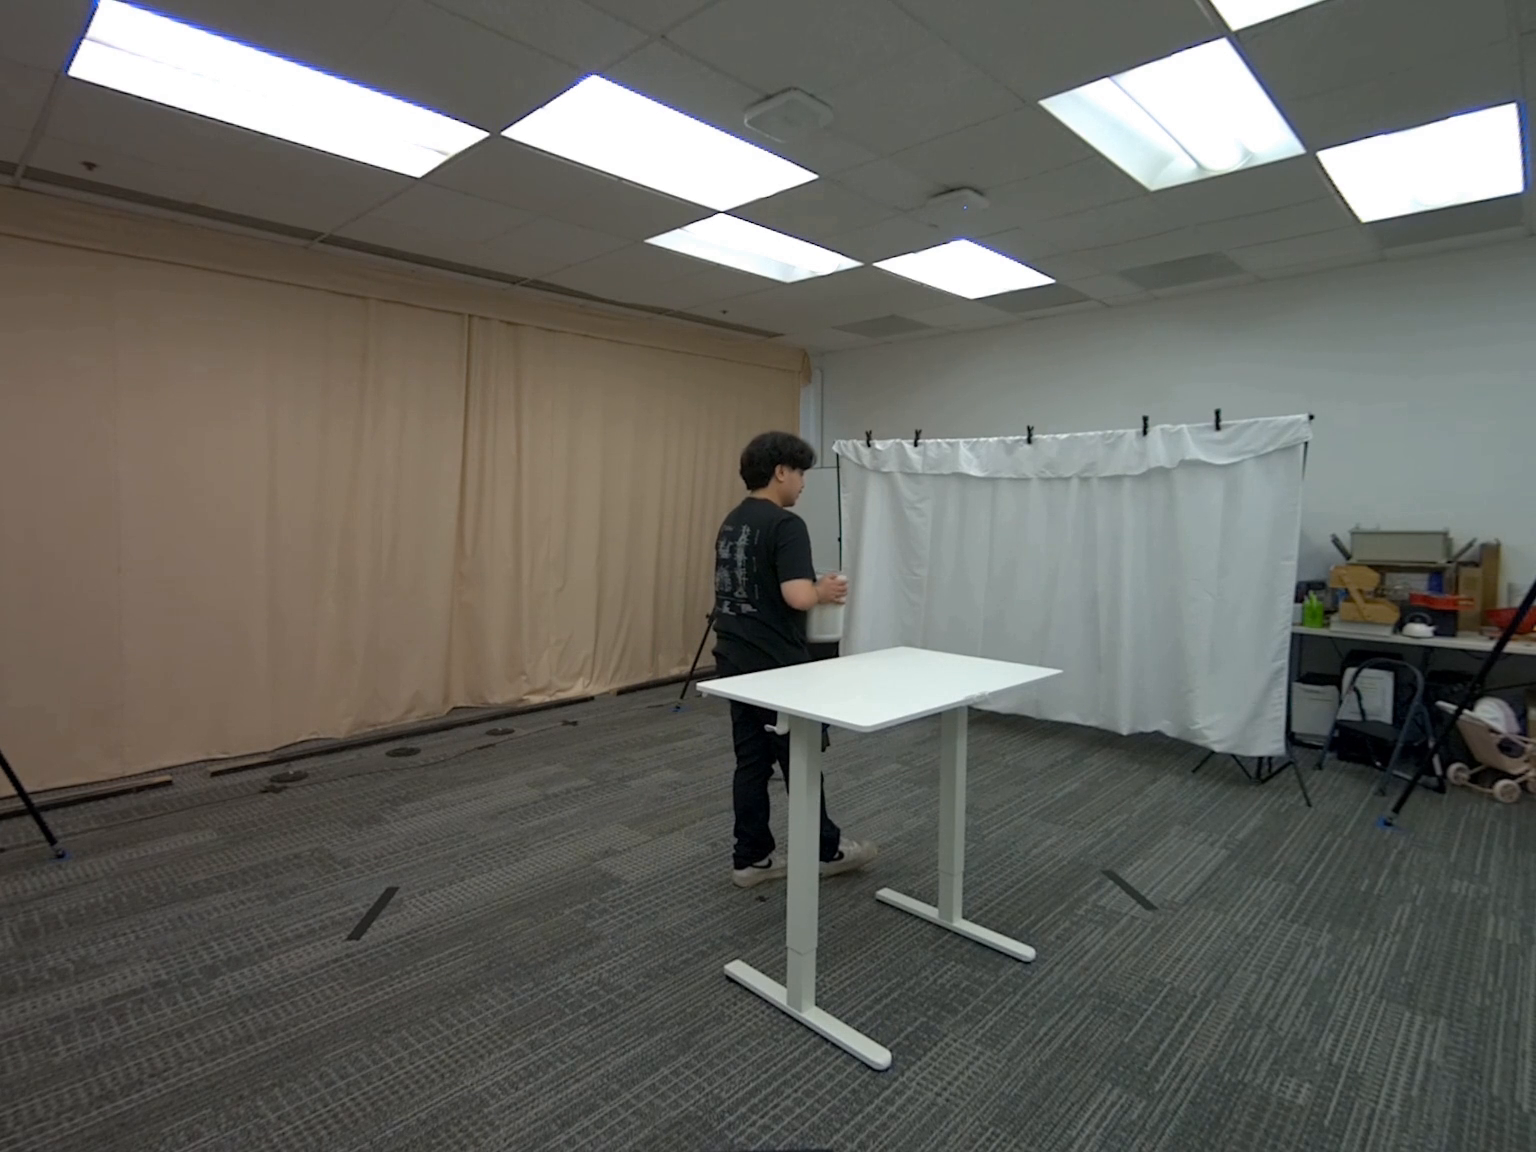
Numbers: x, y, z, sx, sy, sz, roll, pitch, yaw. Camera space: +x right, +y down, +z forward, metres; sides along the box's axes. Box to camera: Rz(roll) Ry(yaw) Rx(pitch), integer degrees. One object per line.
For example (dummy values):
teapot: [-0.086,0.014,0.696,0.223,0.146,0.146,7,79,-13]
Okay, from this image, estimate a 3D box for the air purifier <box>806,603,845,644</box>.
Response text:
air purifier: [0.195,0.115,3.205,0.168,0.265,0.175,2,4,-18]
